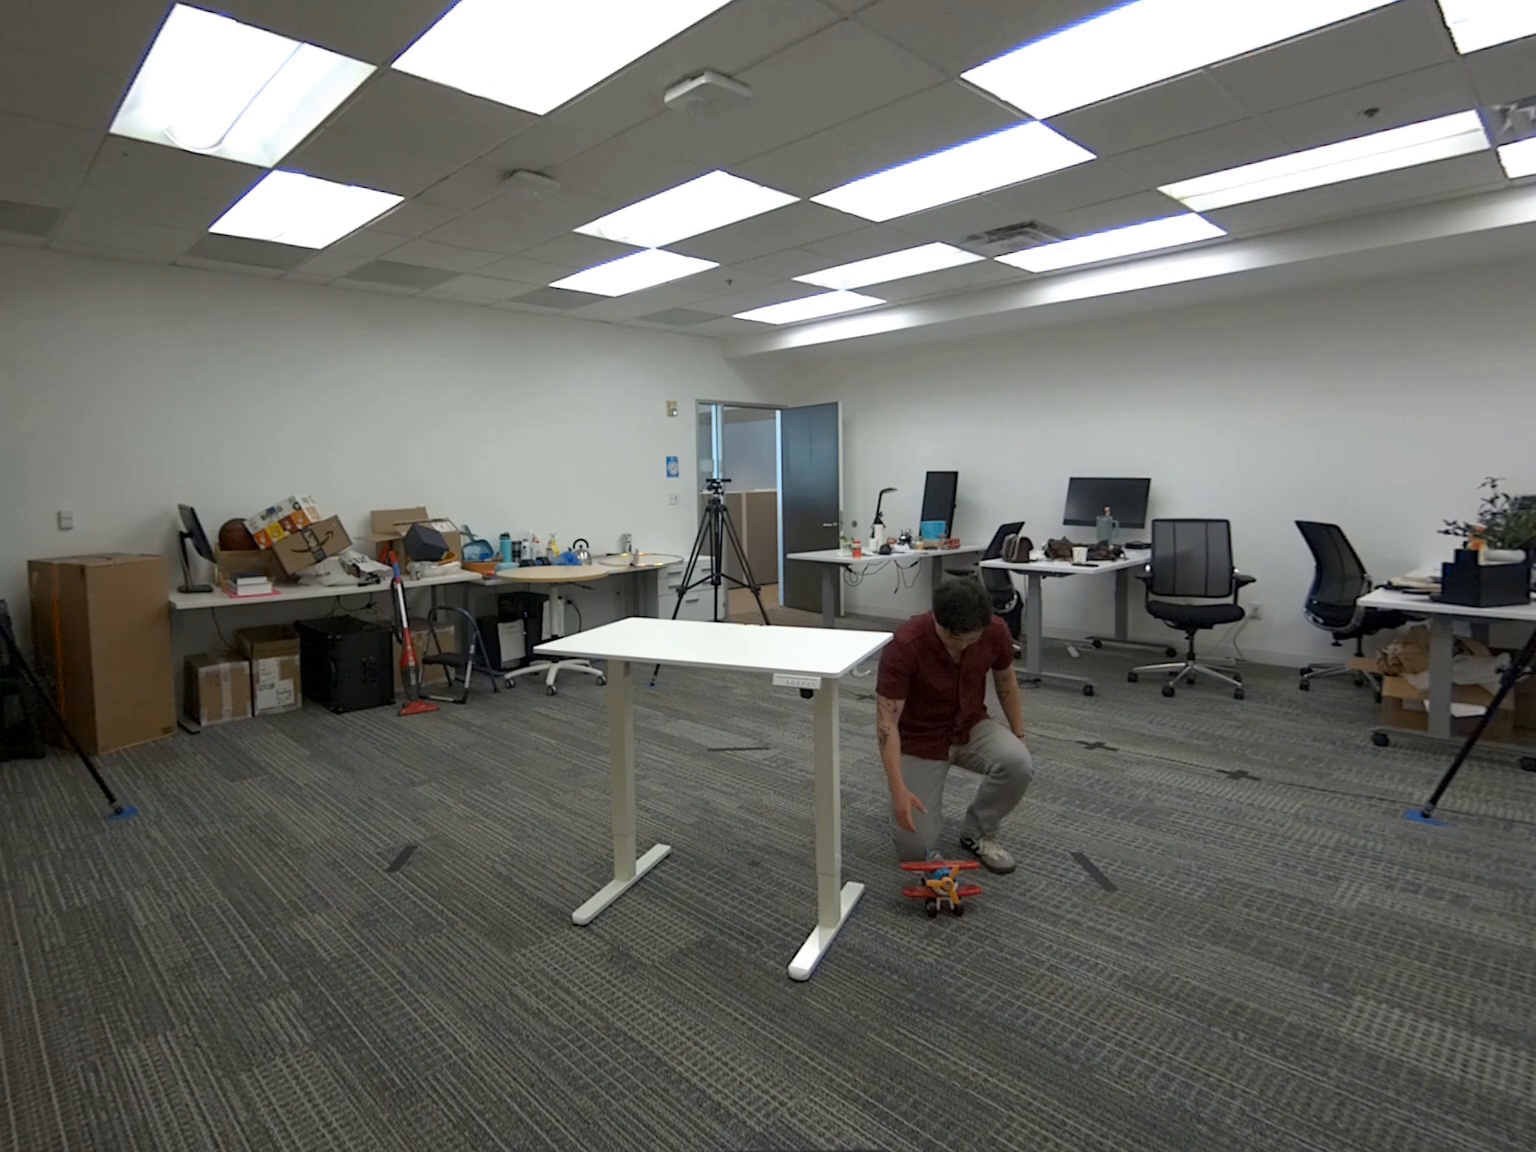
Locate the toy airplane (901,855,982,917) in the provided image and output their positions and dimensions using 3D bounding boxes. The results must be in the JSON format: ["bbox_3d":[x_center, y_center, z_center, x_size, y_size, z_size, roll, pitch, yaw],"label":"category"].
[{"bbox_3d":[0.543,0.998,2.797,0.245,0.155,0.266,-6,8,-29],"label":"toy airplane"}]
